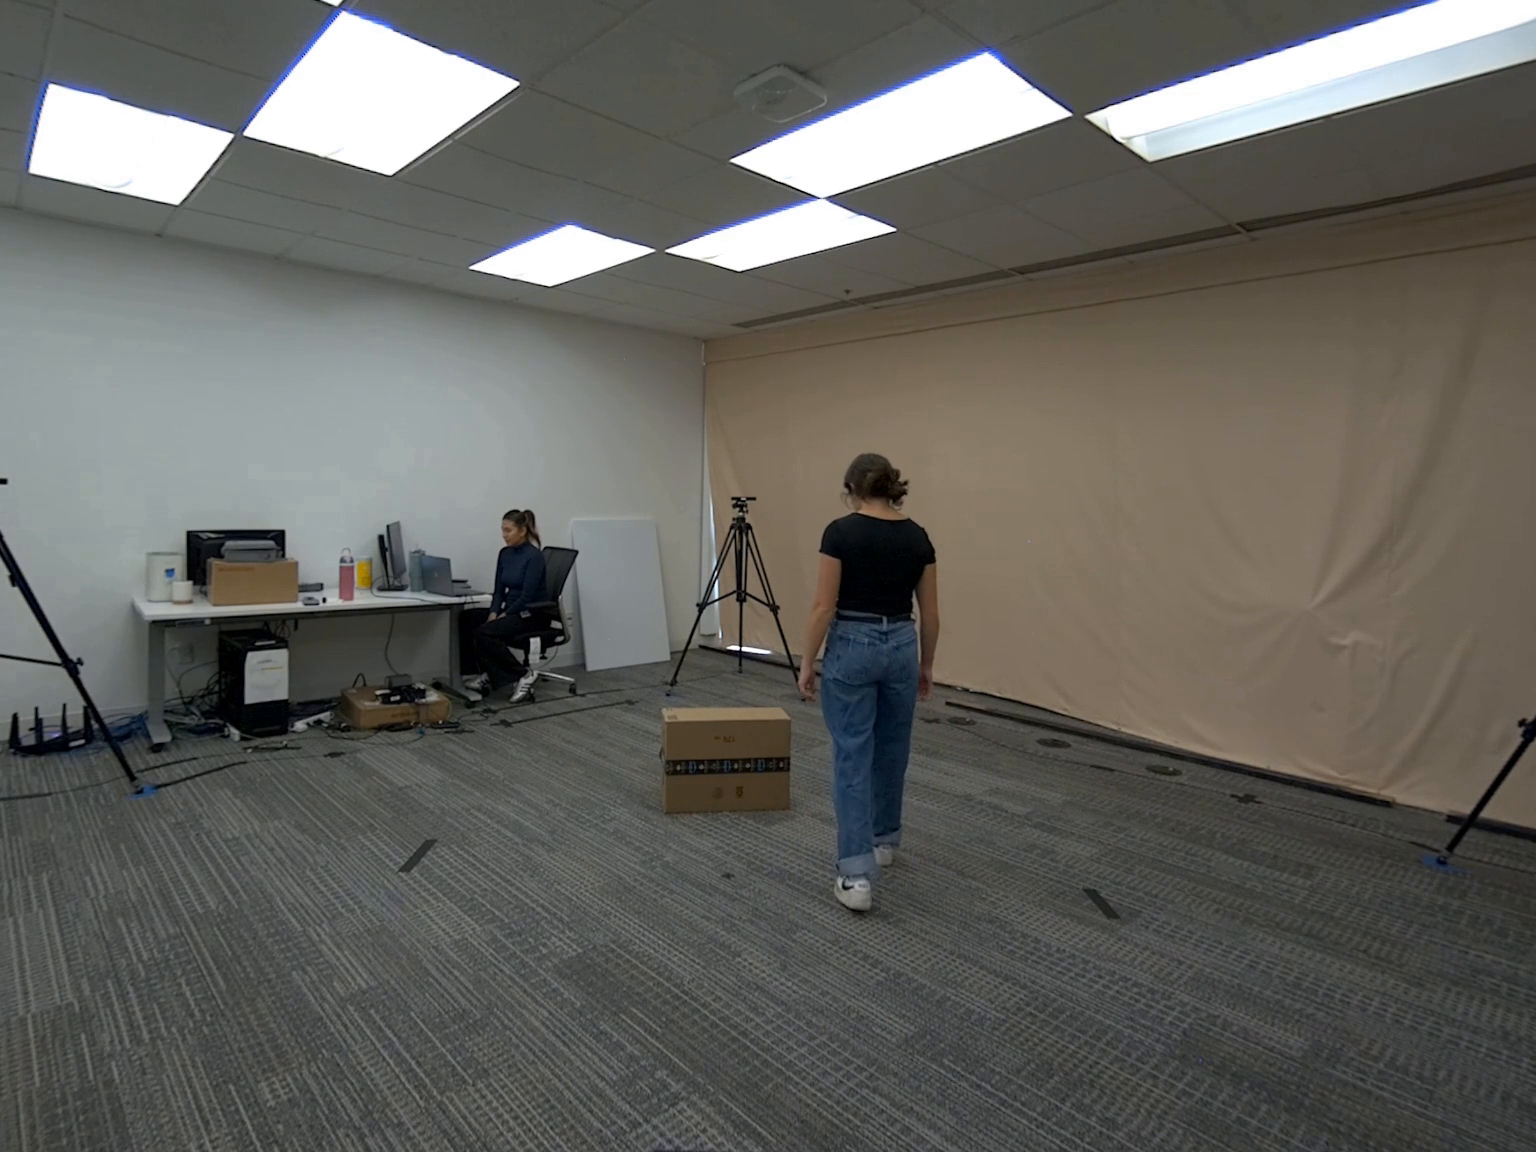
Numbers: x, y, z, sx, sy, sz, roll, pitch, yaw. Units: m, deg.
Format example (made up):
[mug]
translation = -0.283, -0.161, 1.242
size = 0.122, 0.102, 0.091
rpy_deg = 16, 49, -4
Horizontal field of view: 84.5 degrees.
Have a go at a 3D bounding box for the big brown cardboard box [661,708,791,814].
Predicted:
[big brown cardboard box]
translation = -0.210, 0.832, 3.841
size = 0.584, 0.416, 0.235
rpy_deg = 1, 4, -9
